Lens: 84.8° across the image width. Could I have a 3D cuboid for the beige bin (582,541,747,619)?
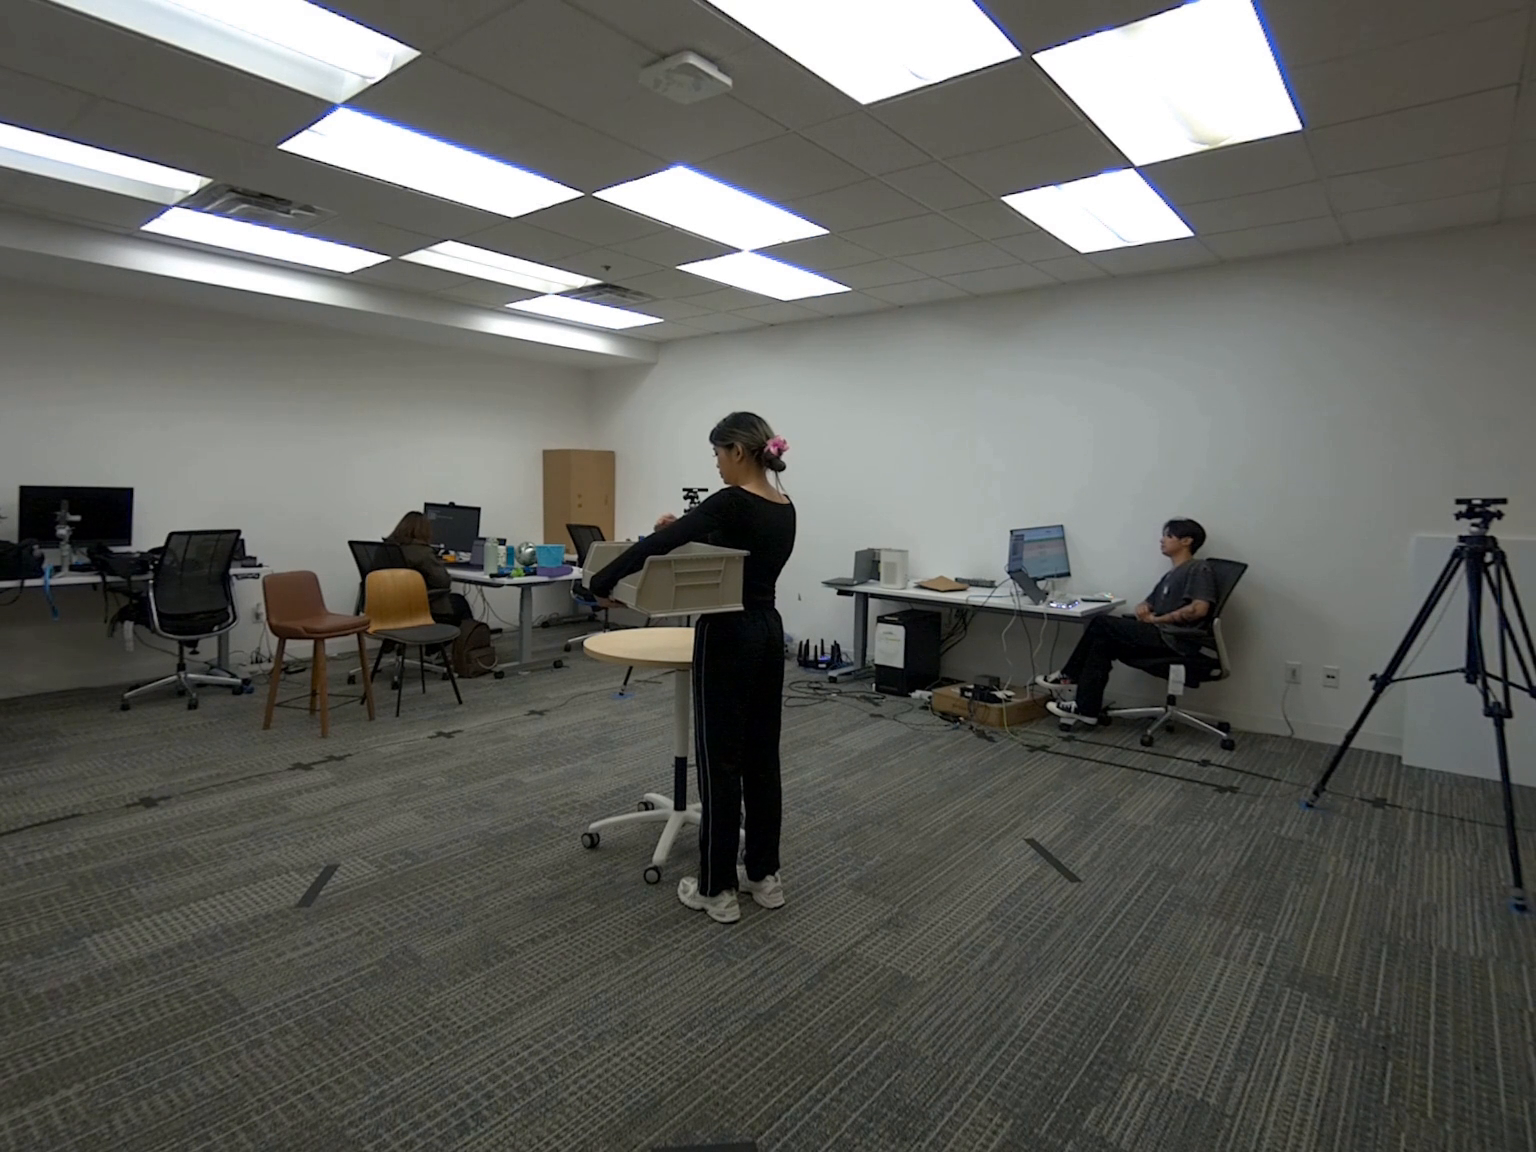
[{"bbox_3d":[-0.341,-0.003,2.660,0.367,0.188,0.436,-2,6,-32],"label":"beige bin"}]
